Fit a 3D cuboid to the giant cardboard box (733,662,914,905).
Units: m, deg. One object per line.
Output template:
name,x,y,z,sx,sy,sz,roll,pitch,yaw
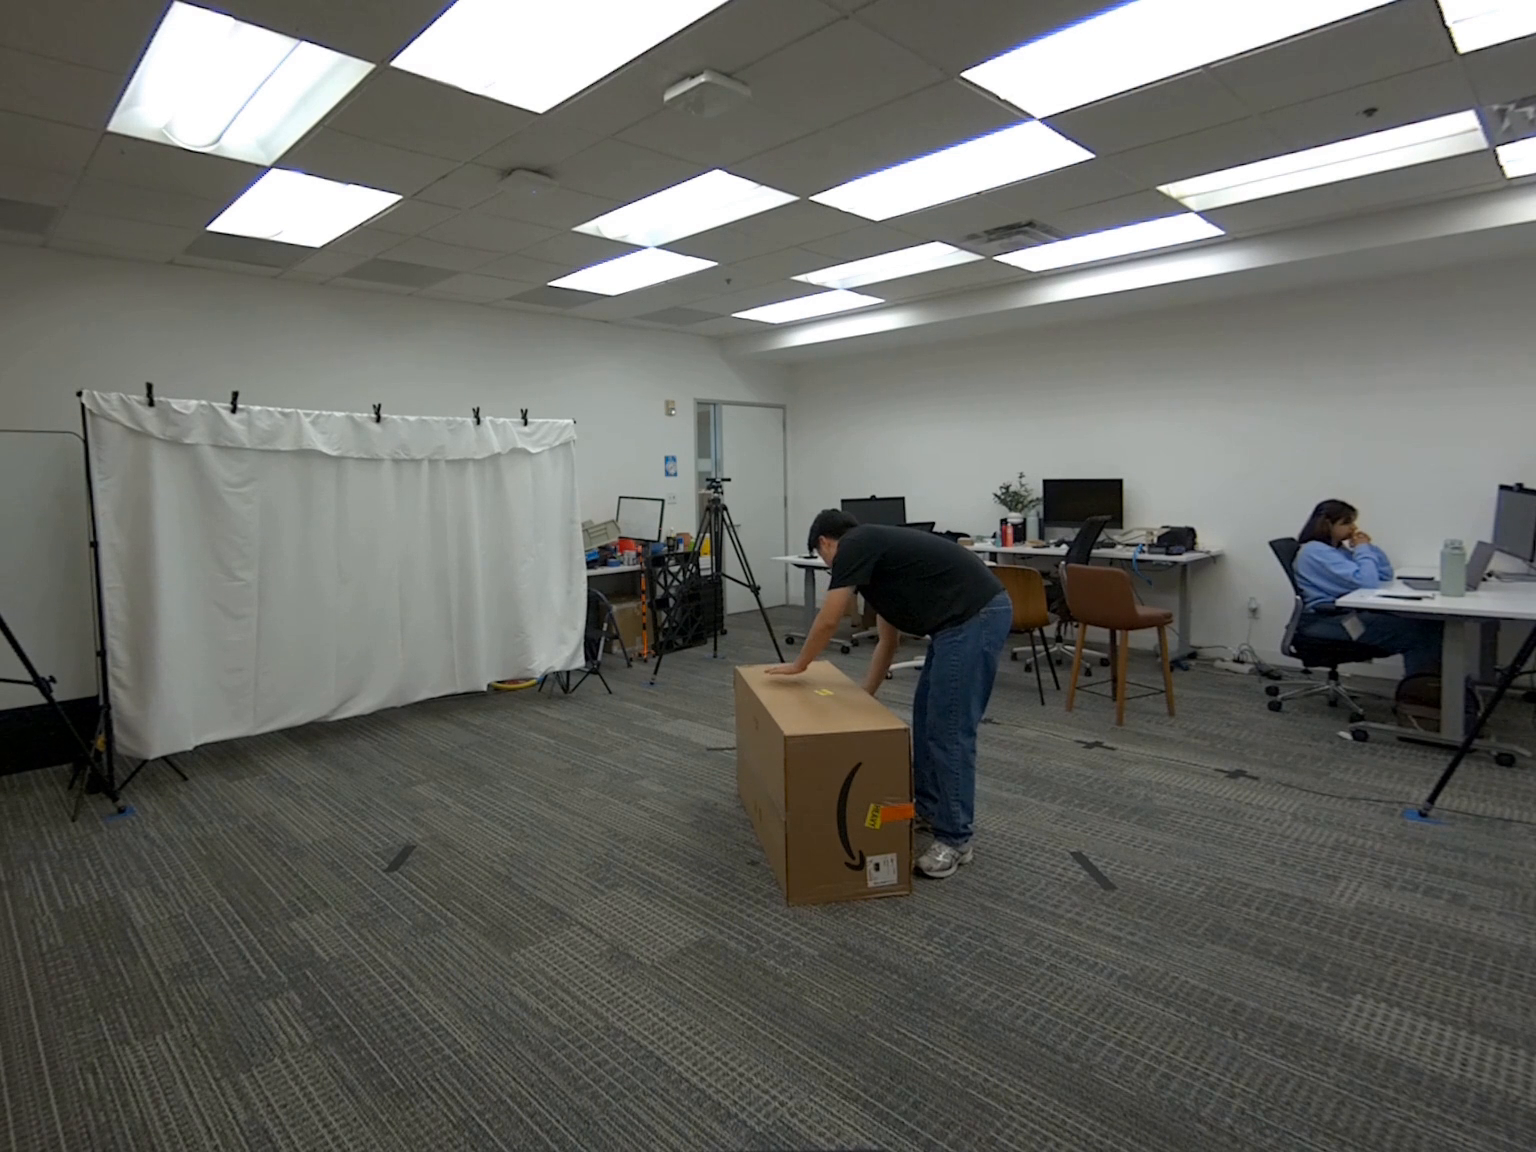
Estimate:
giant cardboard box,0.171,0.728,3.295,0.442,0.581,1.042,-1,6,-11
